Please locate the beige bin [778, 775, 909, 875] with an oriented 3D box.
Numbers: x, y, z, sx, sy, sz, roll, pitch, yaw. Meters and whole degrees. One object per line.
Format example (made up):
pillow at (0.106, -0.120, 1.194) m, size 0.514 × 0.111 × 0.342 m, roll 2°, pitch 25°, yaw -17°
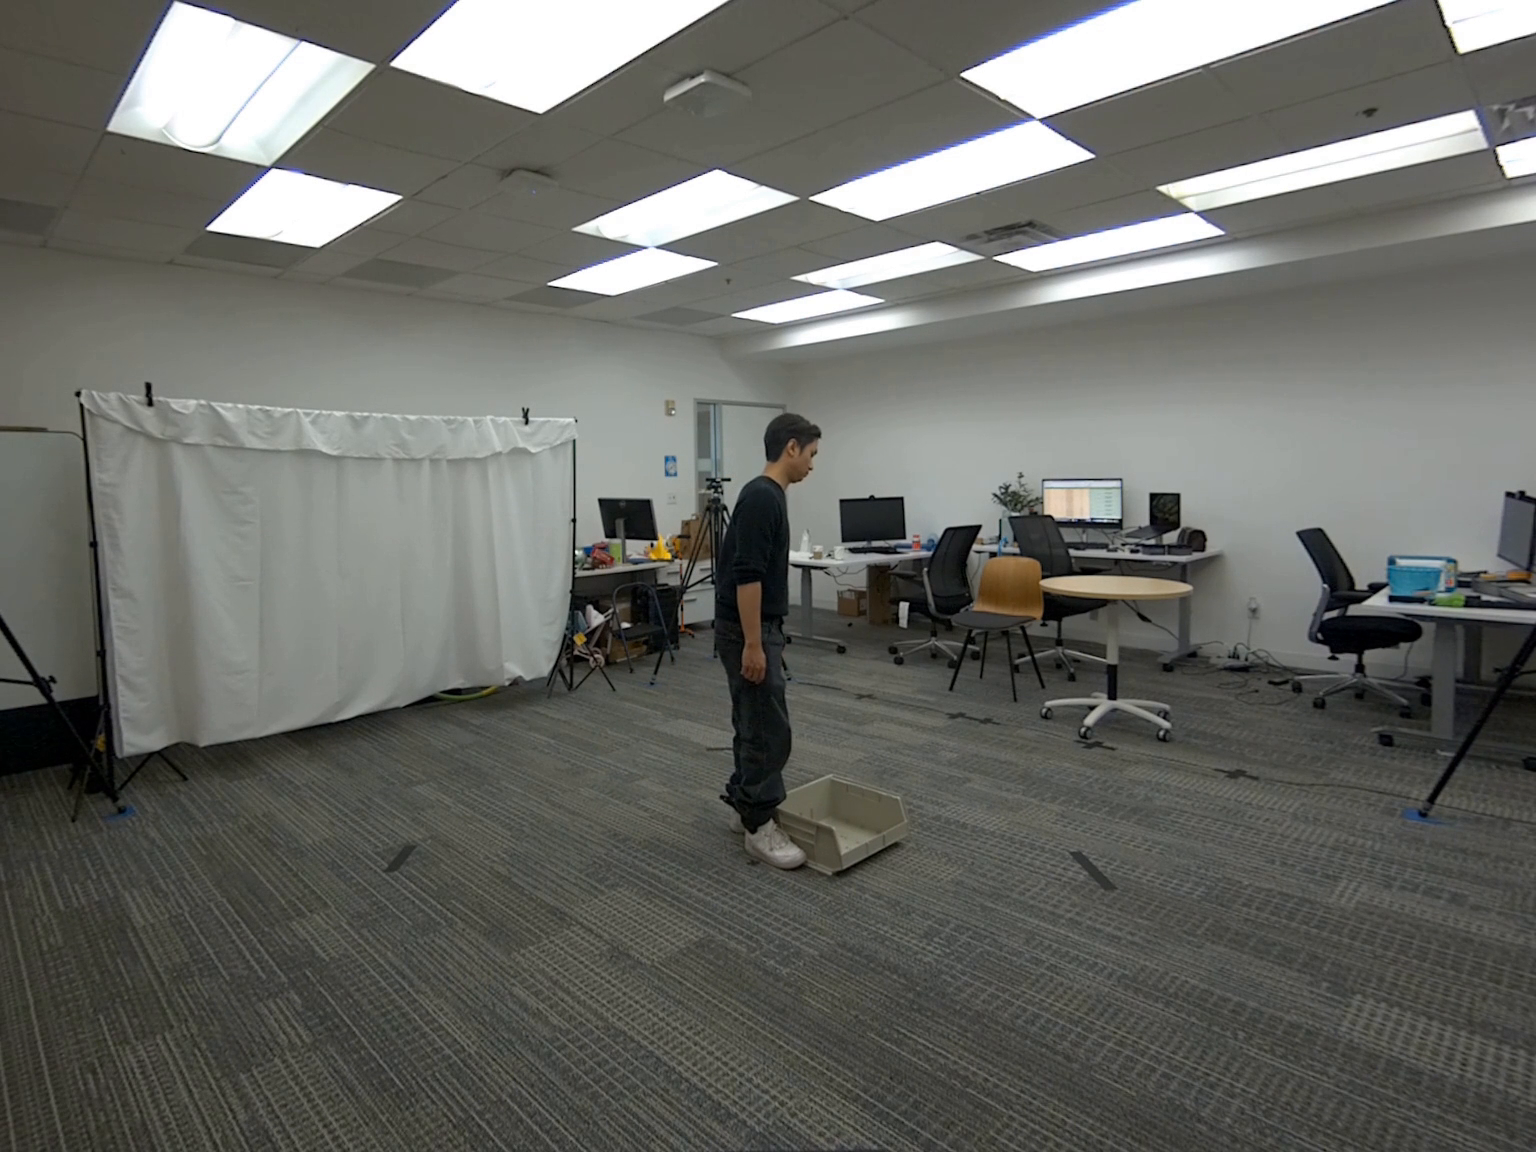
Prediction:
beige bin at (0.263, 0.935, 3.224) m, size 0.411 × 0.188 × 0.389 m, roll -8°, pitch 8°, yaw -44°
